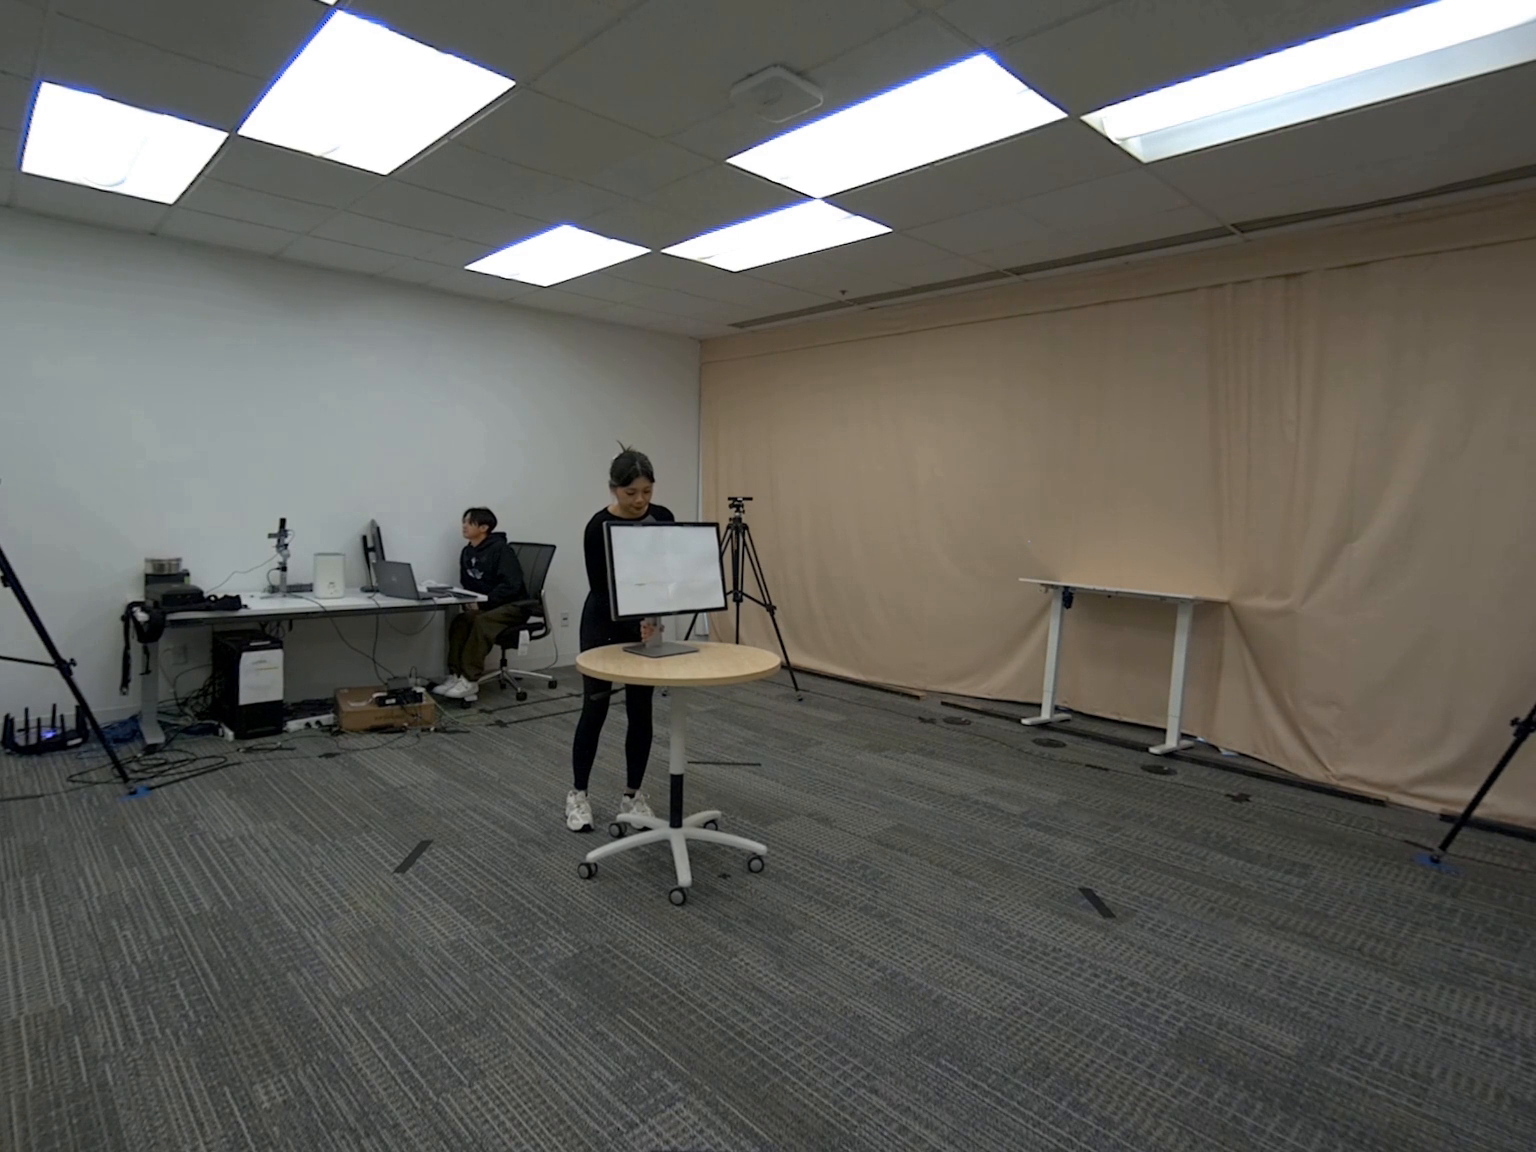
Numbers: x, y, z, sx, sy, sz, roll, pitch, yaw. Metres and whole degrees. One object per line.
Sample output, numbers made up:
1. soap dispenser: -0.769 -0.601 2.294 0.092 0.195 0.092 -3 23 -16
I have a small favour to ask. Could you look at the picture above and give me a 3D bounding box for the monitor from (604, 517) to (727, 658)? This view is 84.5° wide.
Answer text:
1. monitor: -0.424 0.051 3.292 0.192 0.521 0.527 7 7 43
